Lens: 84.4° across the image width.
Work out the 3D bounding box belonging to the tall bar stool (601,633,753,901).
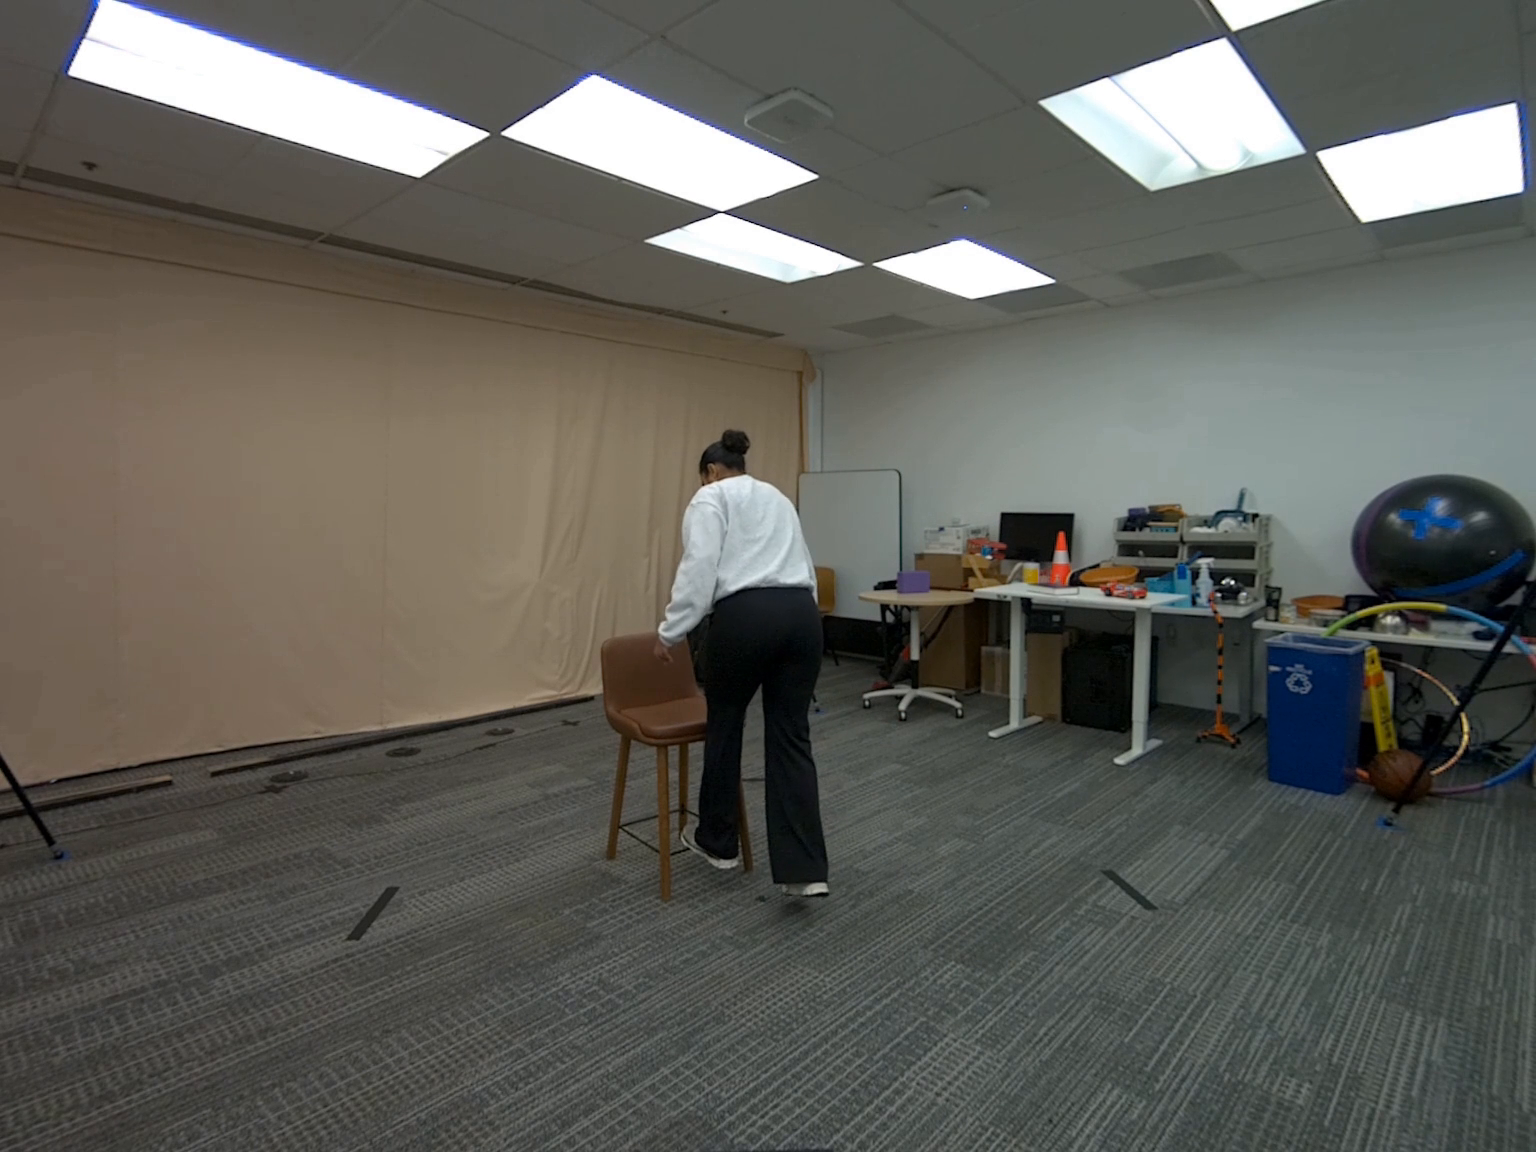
[{"bbox_3d":[-0.366,0.687,3.253,0.443,0.888,0.482,-3,3,-38],"label":"tall bar stool"}]
